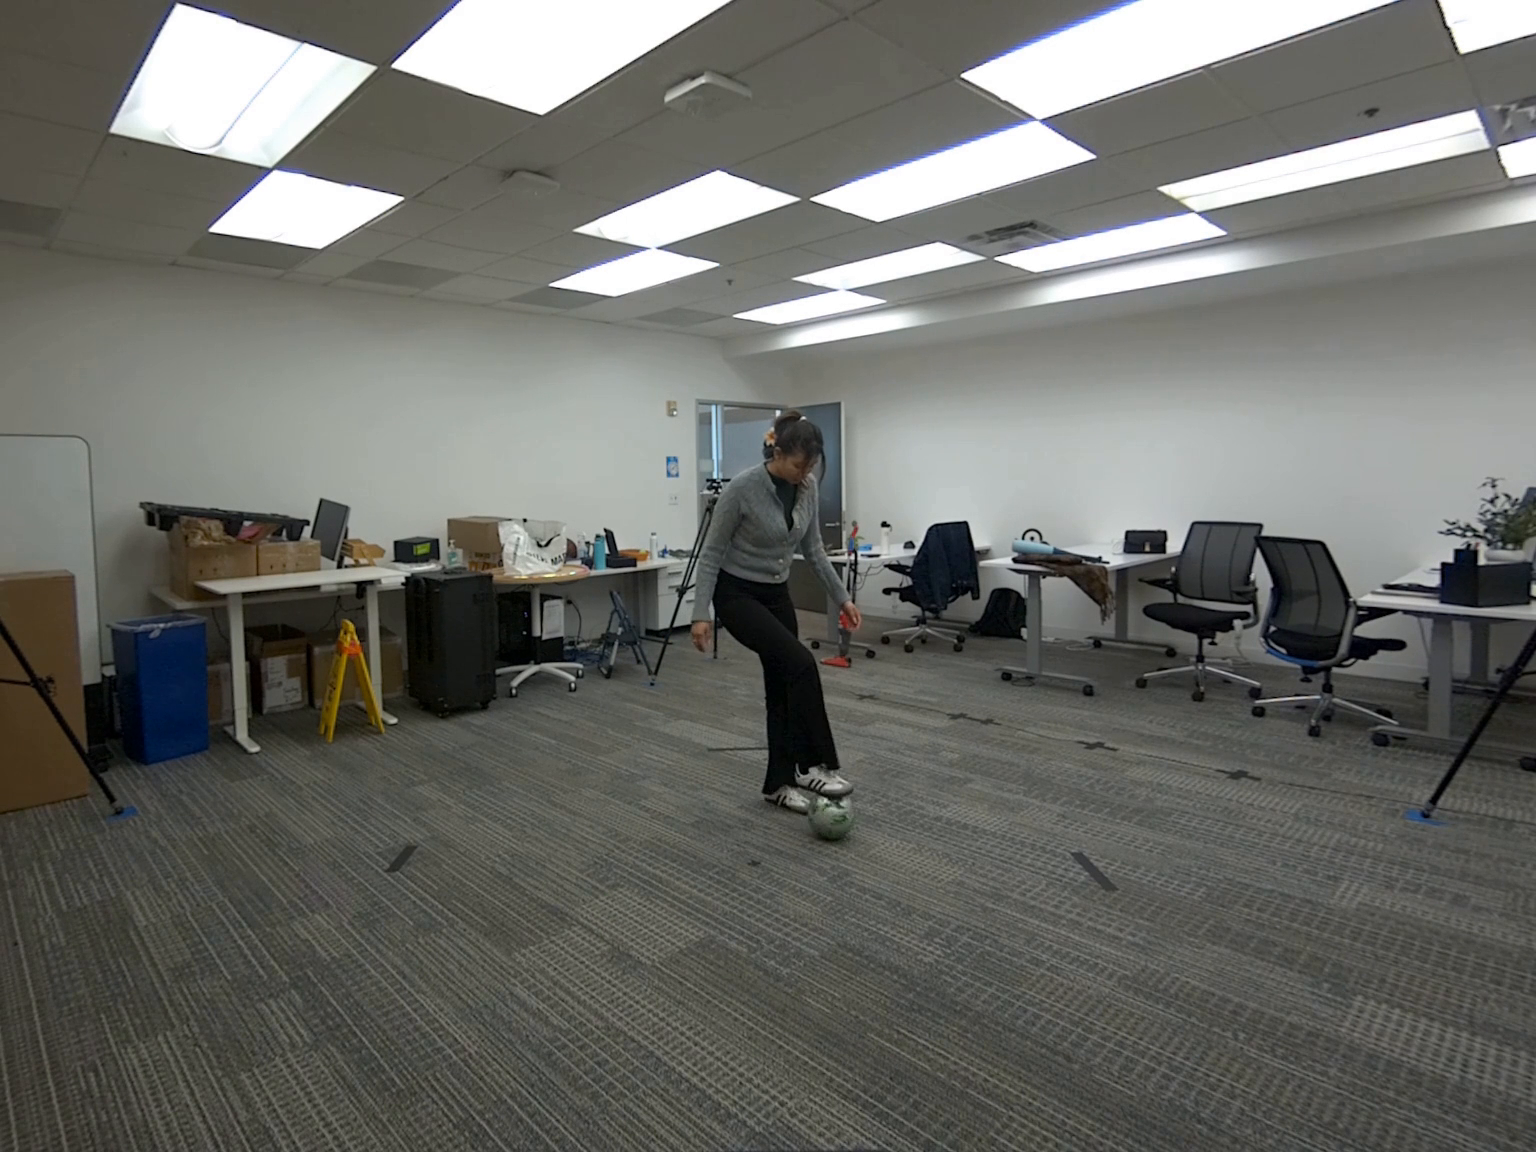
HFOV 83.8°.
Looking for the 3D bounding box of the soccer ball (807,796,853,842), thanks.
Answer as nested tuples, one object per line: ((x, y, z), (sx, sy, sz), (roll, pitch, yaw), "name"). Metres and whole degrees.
((0.241, 0.920, 3.317), (0.187, 0.187, 0.188), (-1, 5, -2), "soccer ball")
